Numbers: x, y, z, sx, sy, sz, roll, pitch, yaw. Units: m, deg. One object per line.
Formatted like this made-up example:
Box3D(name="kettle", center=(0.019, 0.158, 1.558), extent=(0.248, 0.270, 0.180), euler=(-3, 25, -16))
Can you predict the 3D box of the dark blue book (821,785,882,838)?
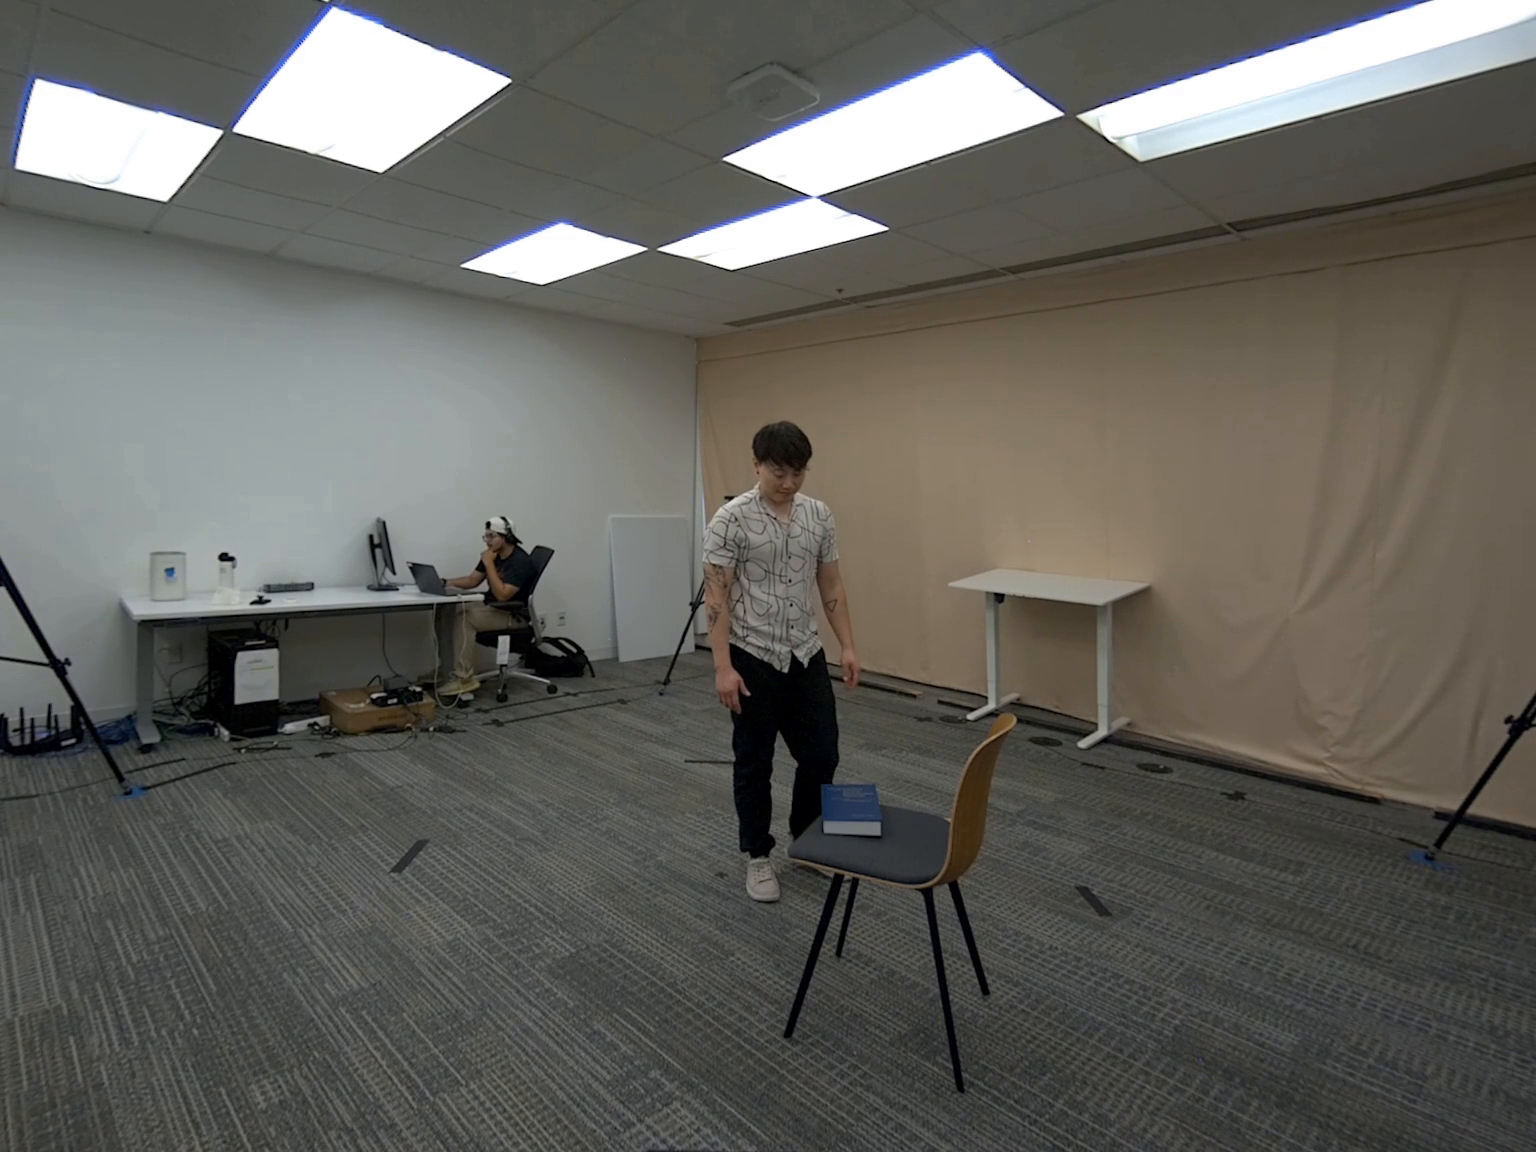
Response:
Box3D(name="dark blue book", center=(0.227, 0.667, 2.409), extent=(0.164, 0.045, 0.246), euler=(-1, 8, 3))
